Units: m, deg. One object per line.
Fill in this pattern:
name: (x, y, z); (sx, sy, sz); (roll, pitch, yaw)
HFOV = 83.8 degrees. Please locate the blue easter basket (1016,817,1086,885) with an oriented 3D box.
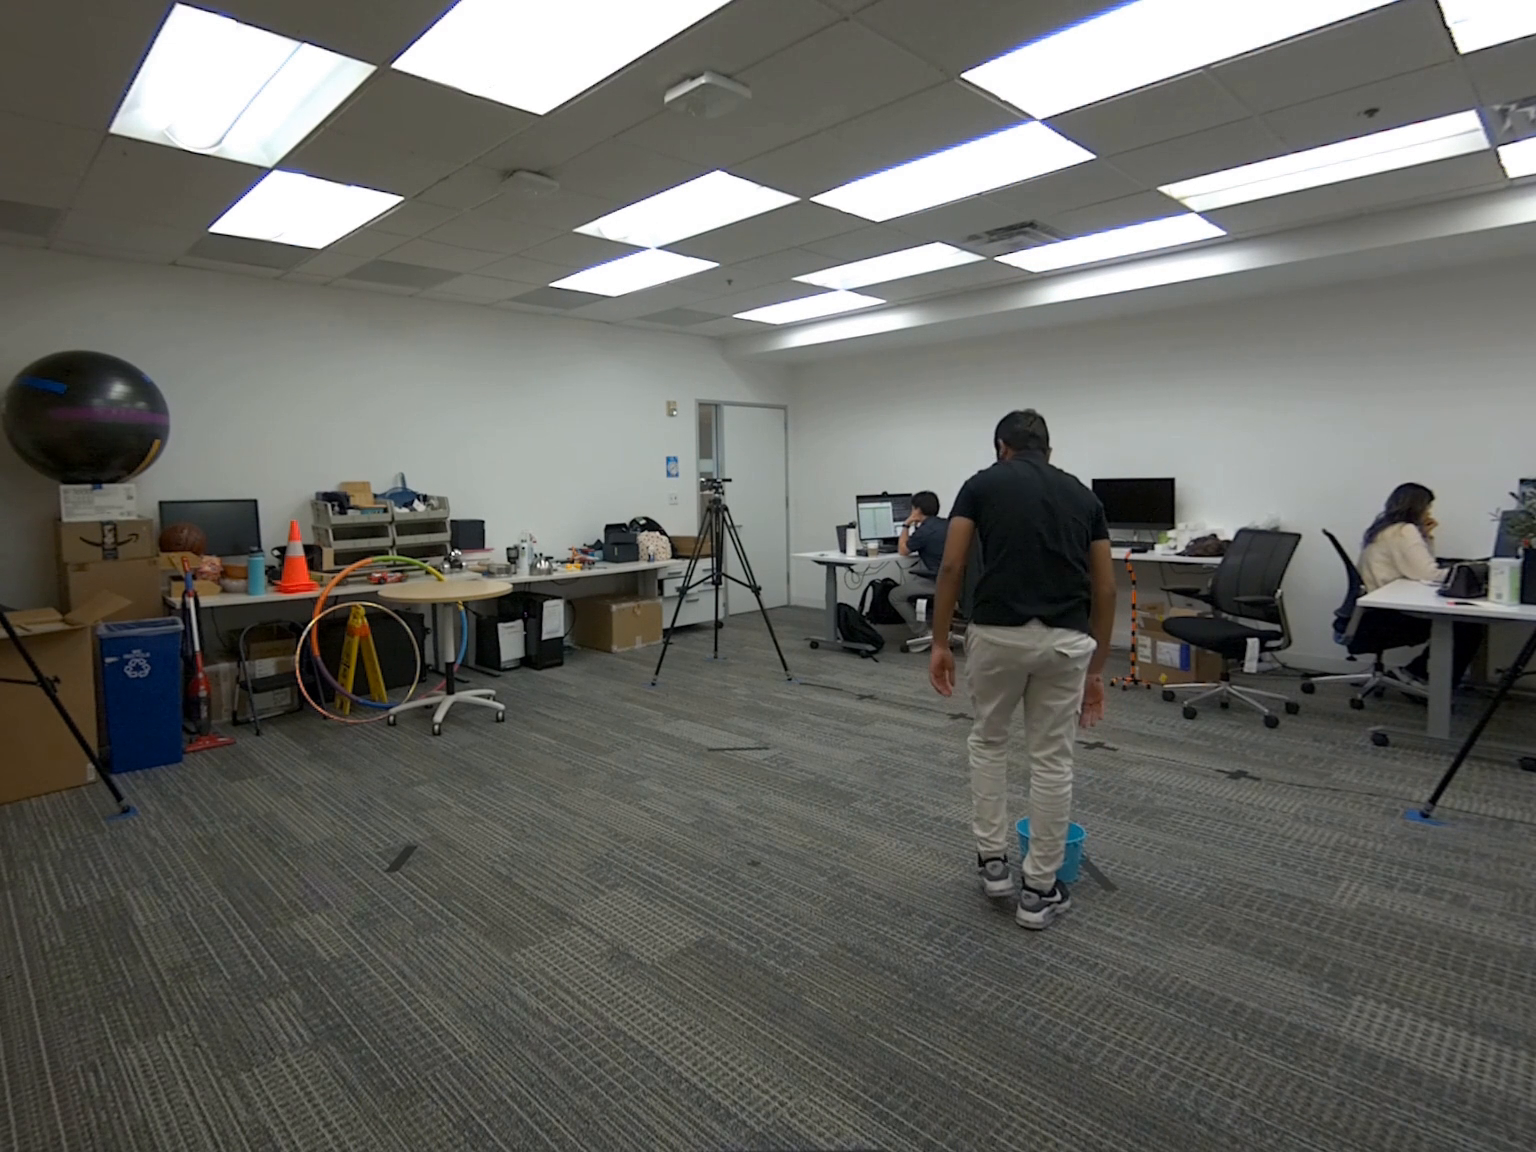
blue easter basket: (0.991, 0.962, 2.999); (0.243, 0.155, 0.245); (-2, 6, -1)
